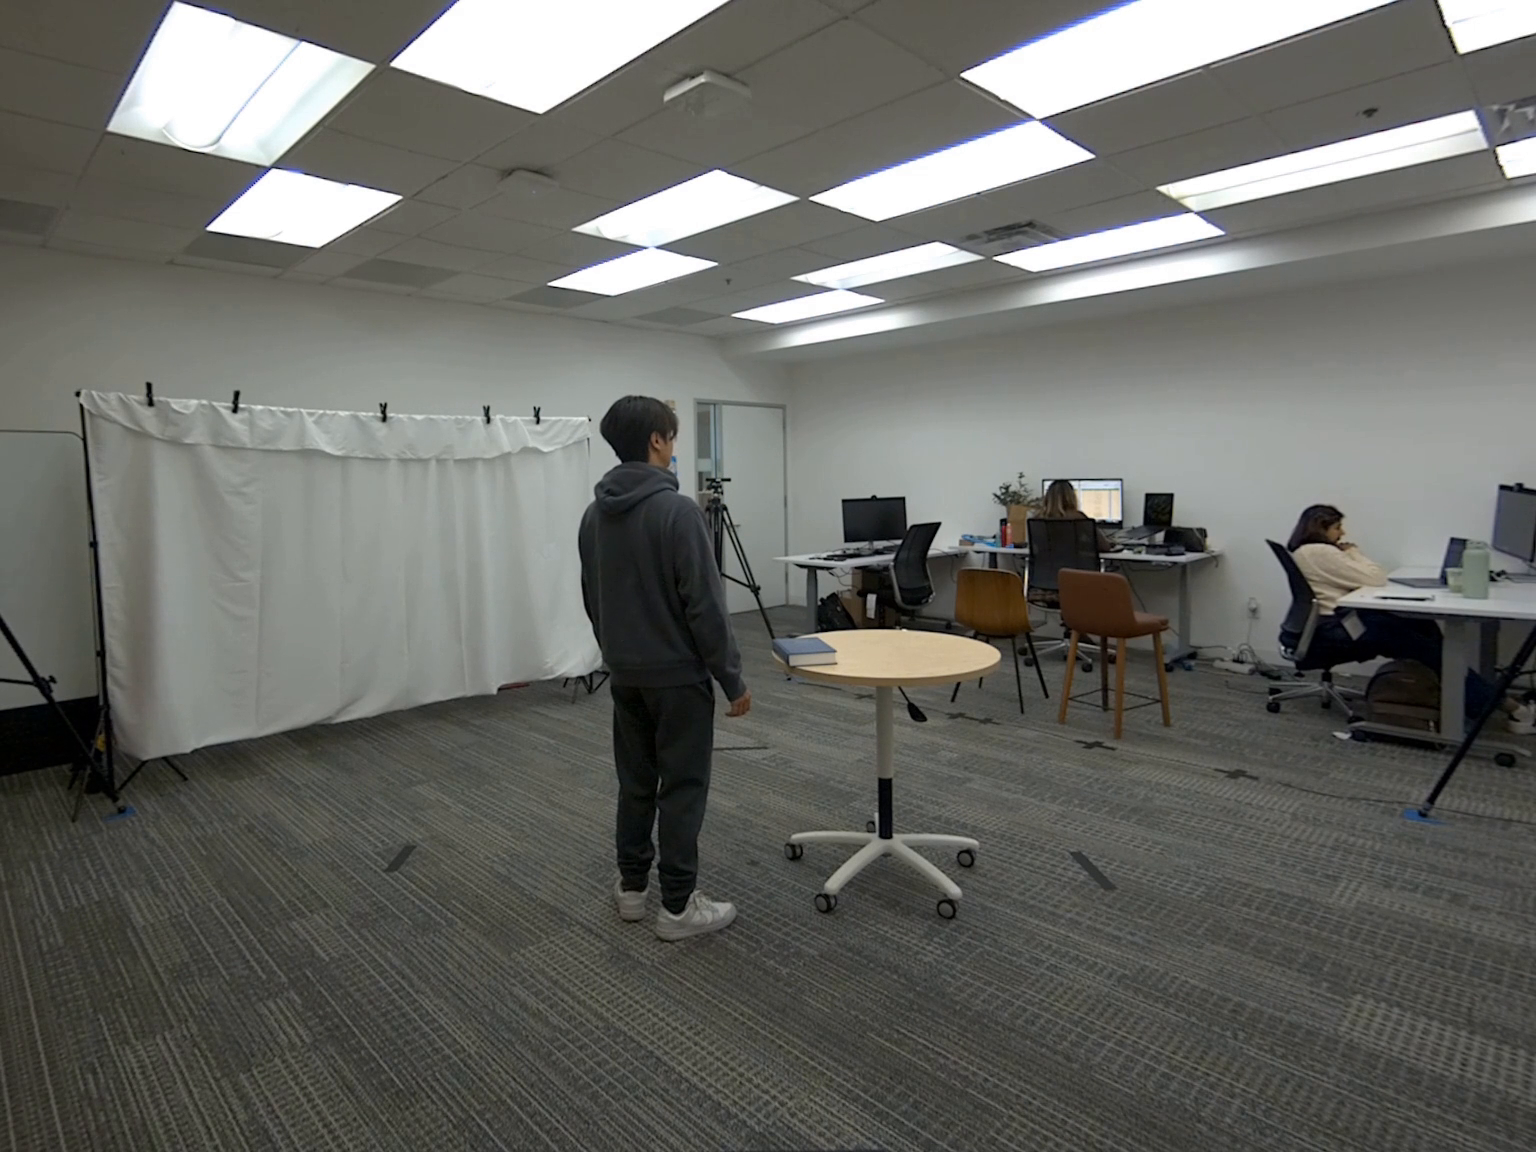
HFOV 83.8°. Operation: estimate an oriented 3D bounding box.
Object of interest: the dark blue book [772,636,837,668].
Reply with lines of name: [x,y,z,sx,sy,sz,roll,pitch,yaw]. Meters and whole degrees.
dark blue book: [0.127,0.252,2.854,0.162,0.045,0.249,-2,7,-12]
